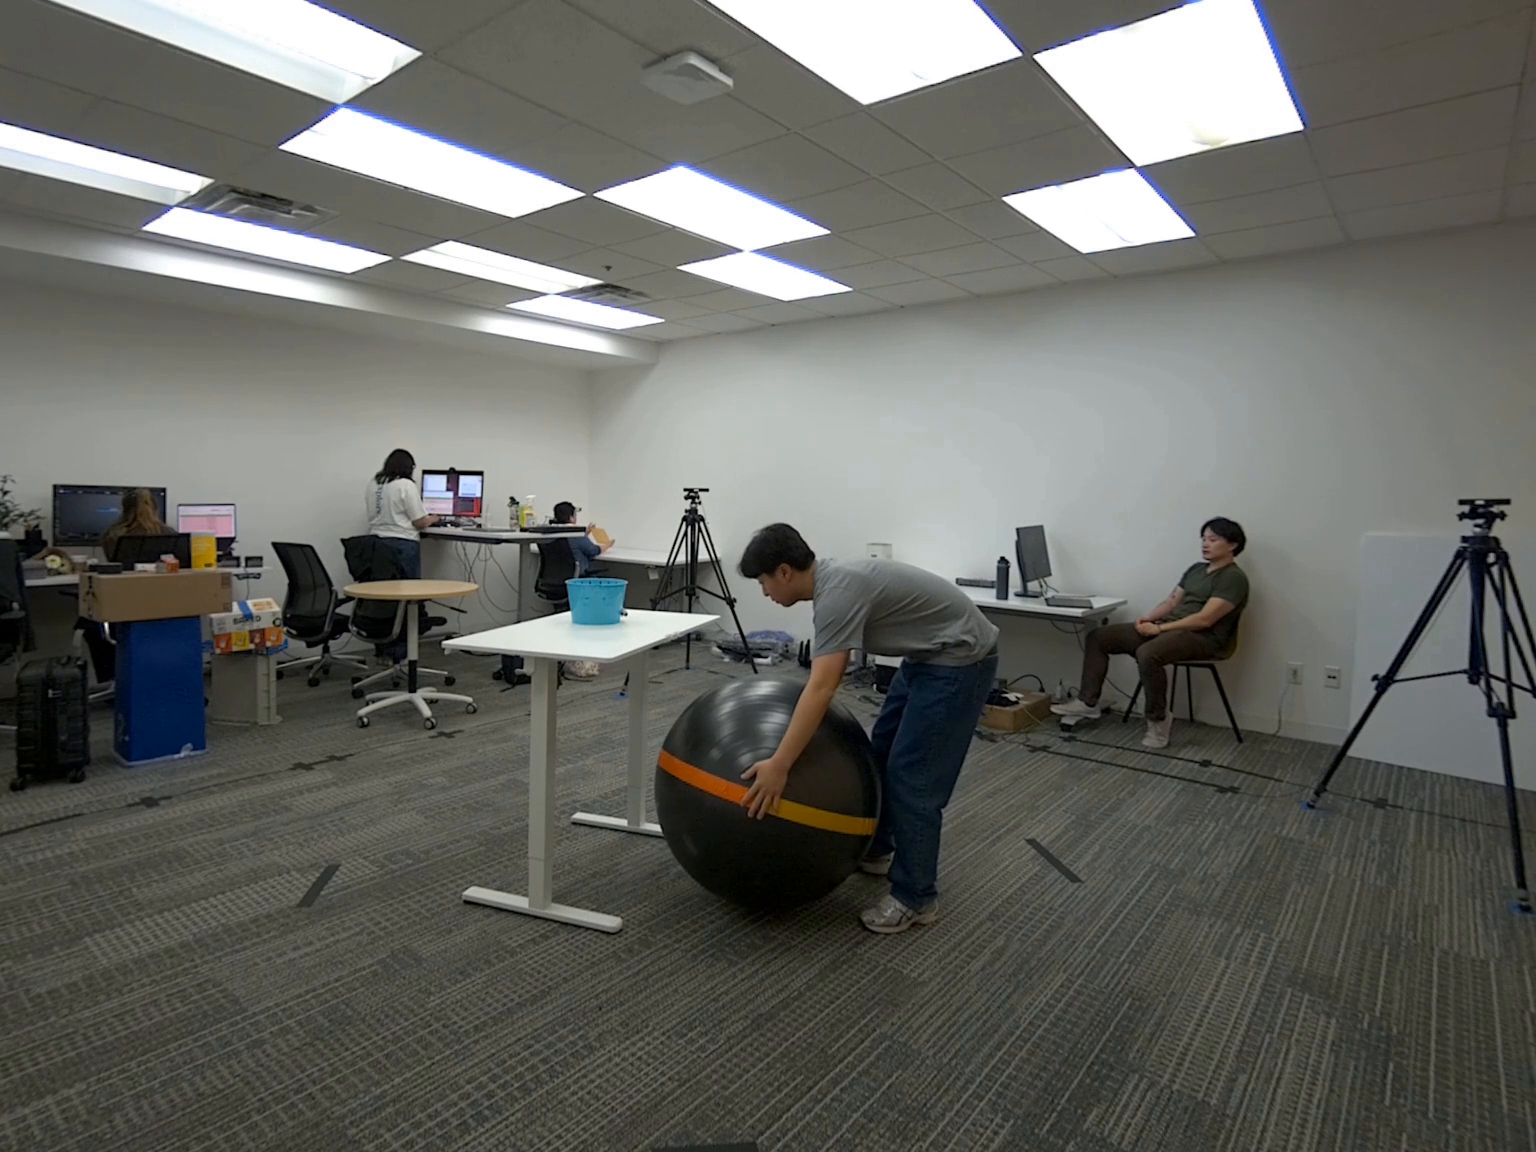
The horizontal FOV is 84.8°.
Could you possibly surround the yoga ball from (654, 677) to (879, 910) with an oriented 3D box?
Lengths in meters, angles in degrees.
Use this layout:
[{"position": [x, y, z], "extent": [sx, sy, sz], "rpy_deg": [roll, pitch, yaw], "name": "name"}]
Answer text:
[{"position": [-0.018, 0.706, 2.863], "extent": [0.757, 0.755, 0.762], "rpy_deg": [1, 4, -2], "name": "yoga ball"}]
